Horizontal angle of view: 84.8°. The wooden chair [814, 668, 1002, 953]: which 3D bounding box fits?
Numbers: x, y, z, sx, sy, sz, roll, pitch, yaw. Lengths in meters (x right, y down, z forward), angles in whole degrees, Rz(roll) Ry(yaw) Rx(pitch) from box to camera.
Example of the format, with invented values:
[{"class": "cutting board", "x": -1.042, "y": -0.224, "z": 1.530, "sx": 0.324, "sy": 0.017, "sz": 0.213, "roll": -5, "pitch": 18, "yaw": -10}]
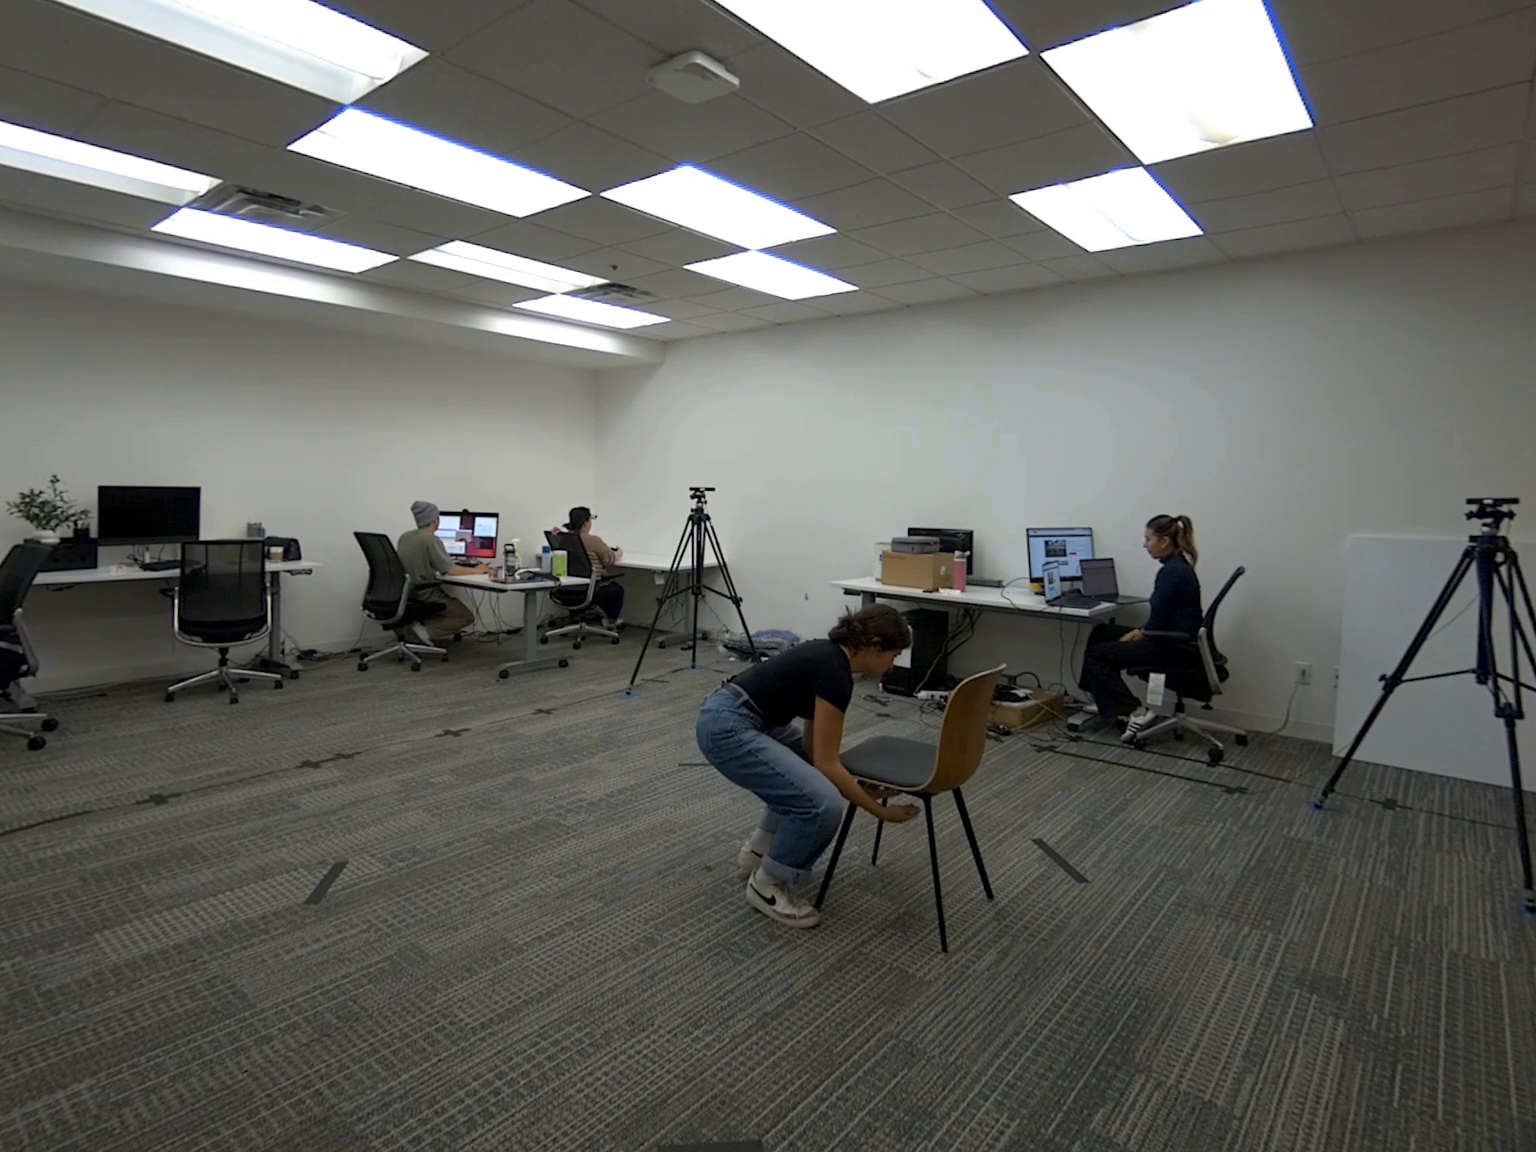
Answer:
[{"class": "wooden chair", "x": 0.464, "y": 0.680, "z": 2.854, "sx": 0.541, "sy": 0.873, "sz": 0.465, "roll": 9, "pitch": 7, "yaw": 34}]
